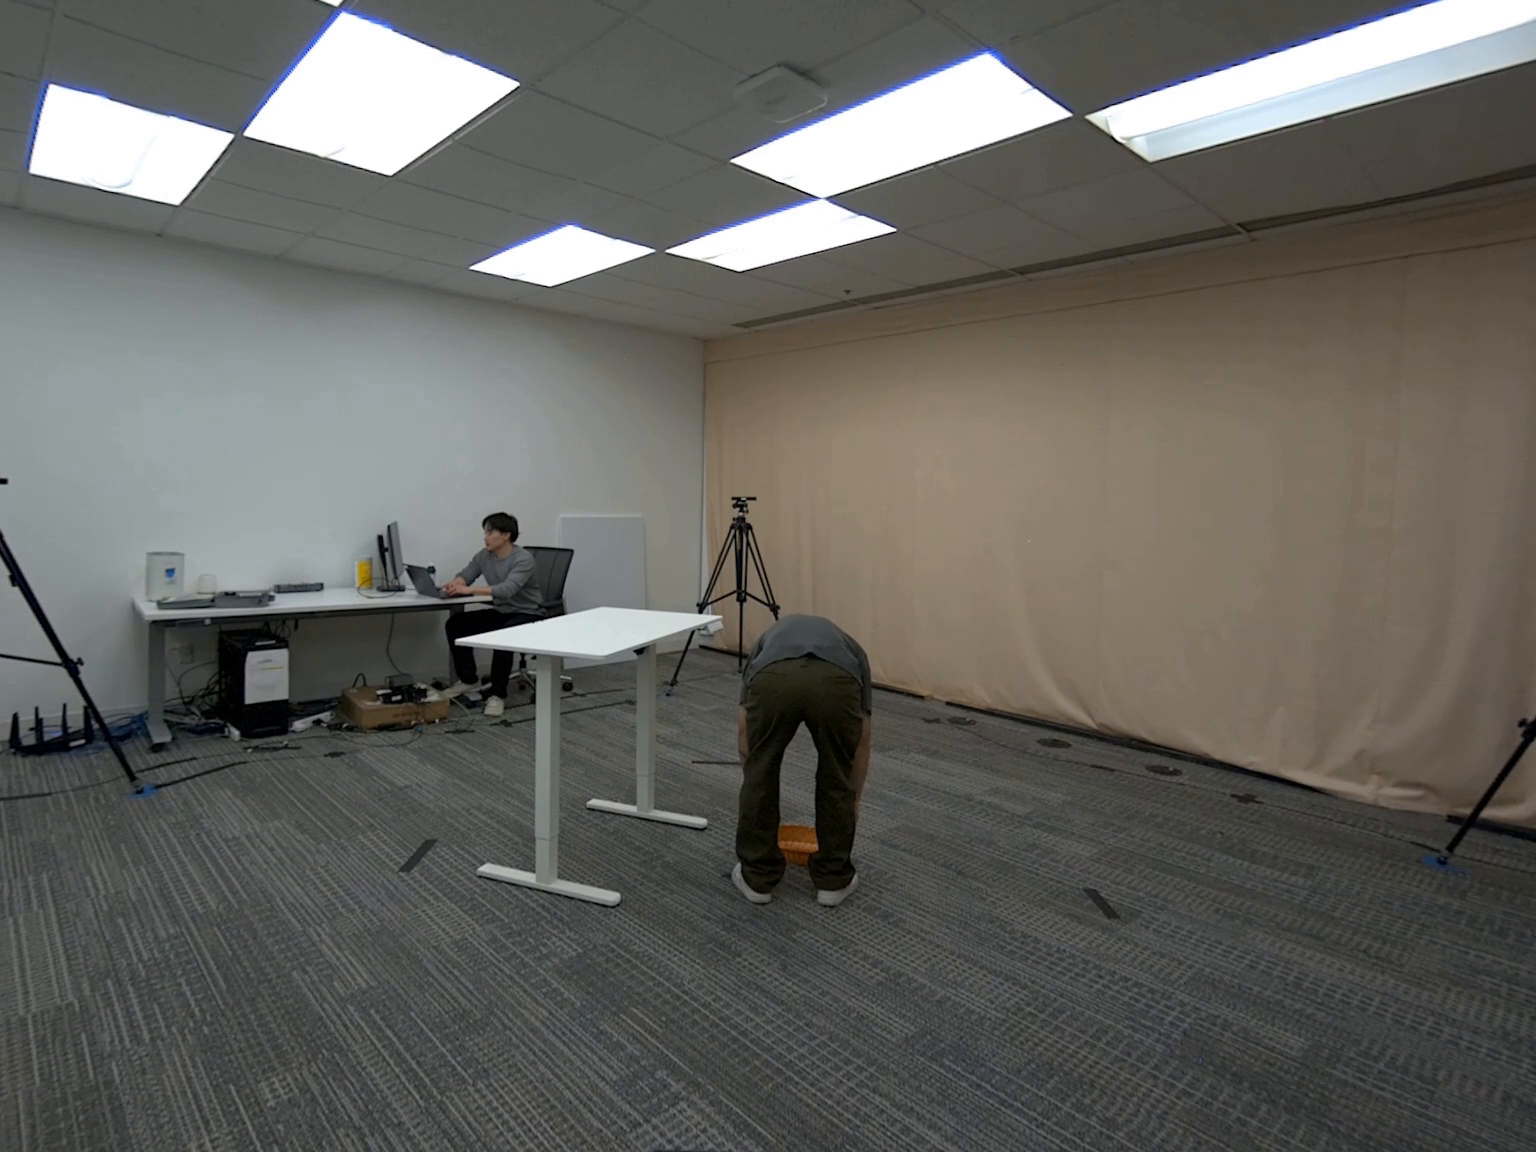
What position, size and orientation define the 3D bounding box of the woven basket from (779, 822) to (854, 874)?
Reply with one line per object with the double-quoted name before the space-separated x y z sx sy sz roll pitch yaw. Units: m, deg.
"woven basket" 0.130 1.060 3.301 0.356 0.073 0.249 3 5 20
